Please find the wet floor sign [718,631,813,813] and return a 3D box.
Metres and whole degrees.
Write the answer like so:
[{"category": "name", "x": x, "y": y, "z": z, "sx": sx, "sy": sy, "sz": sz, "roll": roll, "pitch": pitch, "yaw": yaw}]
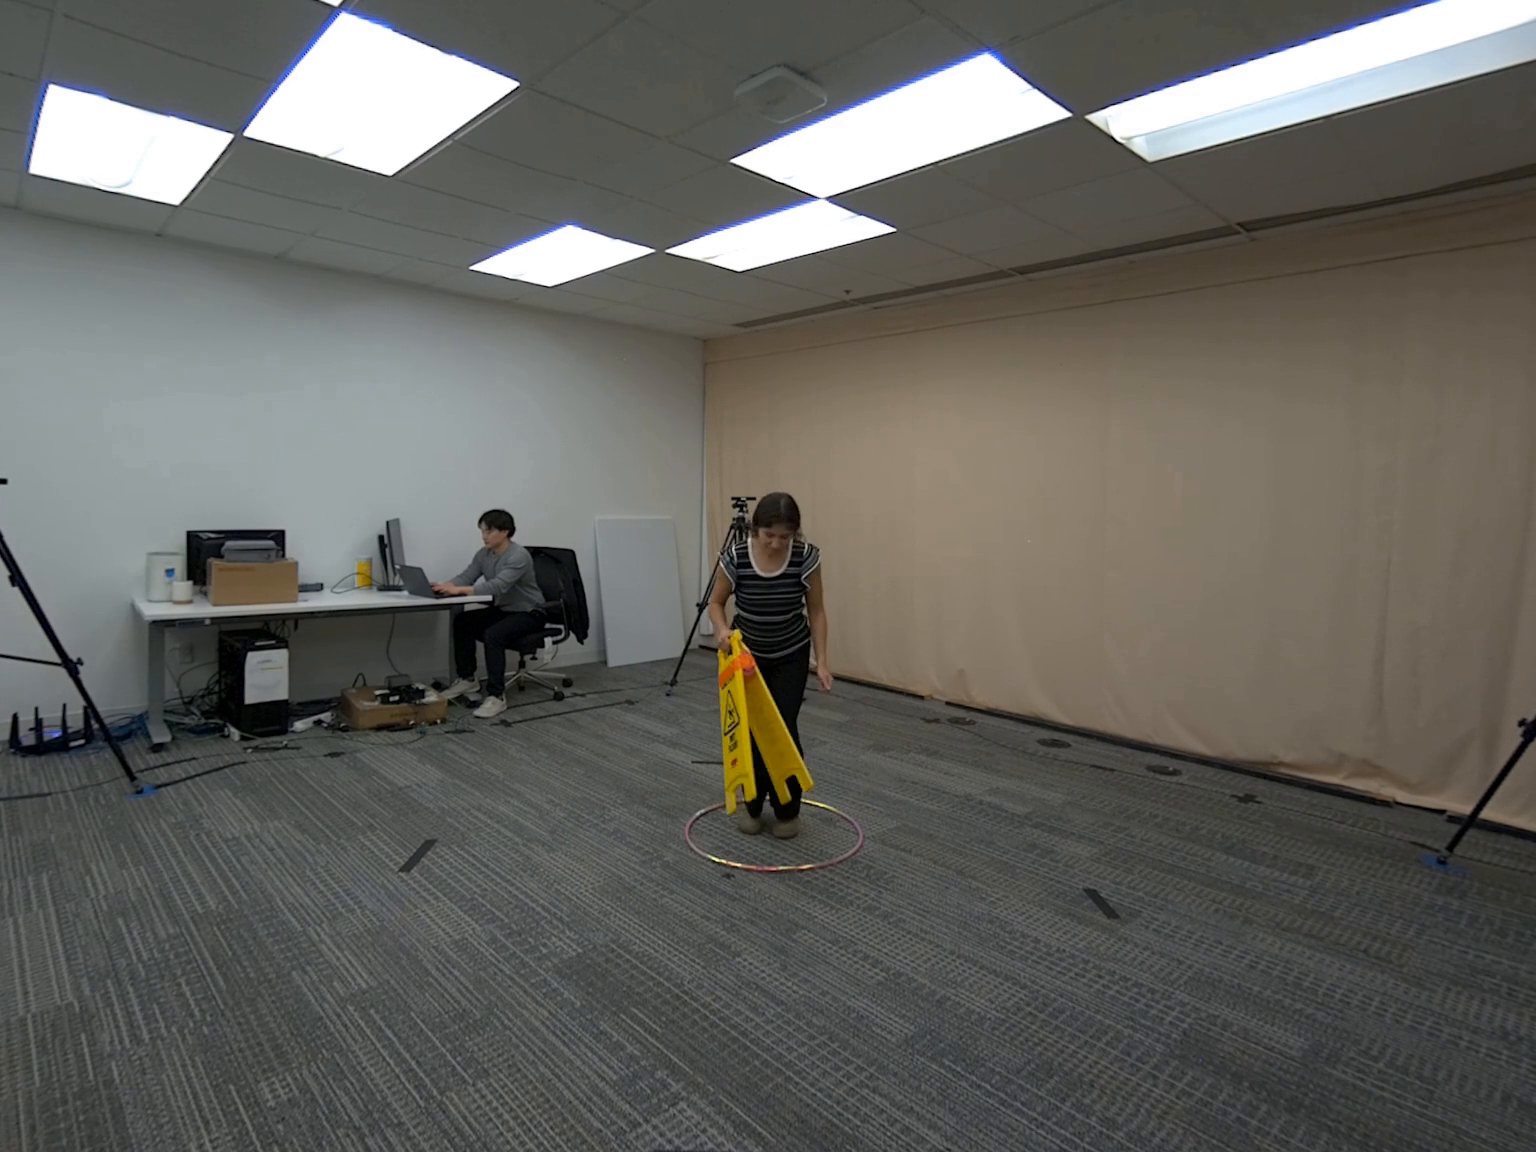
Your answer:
[{"category": "wet floor sign", "x": -0.092, "y": 0.497, "z": 3.251, "sx": 0.285, "sy": 0.659, "sz": 0.281, "roll": -3, "pitch": -26, "yaw": -25}]
